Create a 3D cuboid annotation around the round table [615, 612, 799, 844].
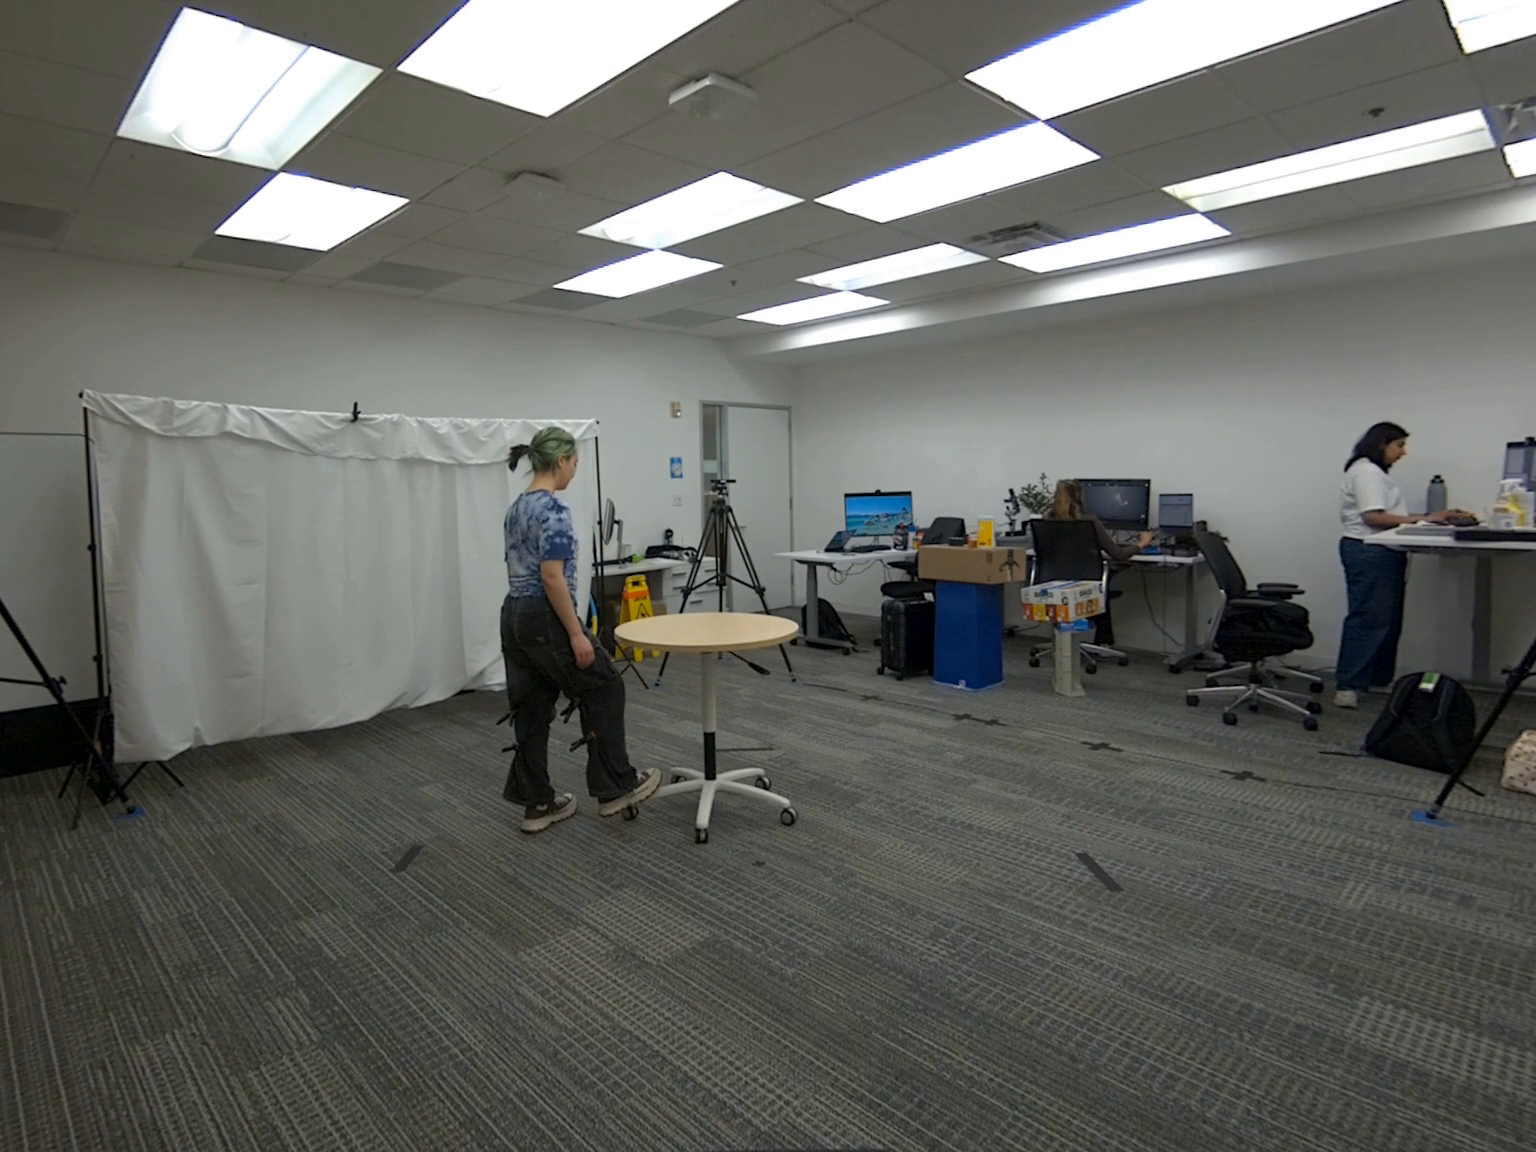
[{"bbox_3d":[-0.248,0.607,3.580,0.763,0.791,0.768,-1,5,-2],"label":"round table"}]
